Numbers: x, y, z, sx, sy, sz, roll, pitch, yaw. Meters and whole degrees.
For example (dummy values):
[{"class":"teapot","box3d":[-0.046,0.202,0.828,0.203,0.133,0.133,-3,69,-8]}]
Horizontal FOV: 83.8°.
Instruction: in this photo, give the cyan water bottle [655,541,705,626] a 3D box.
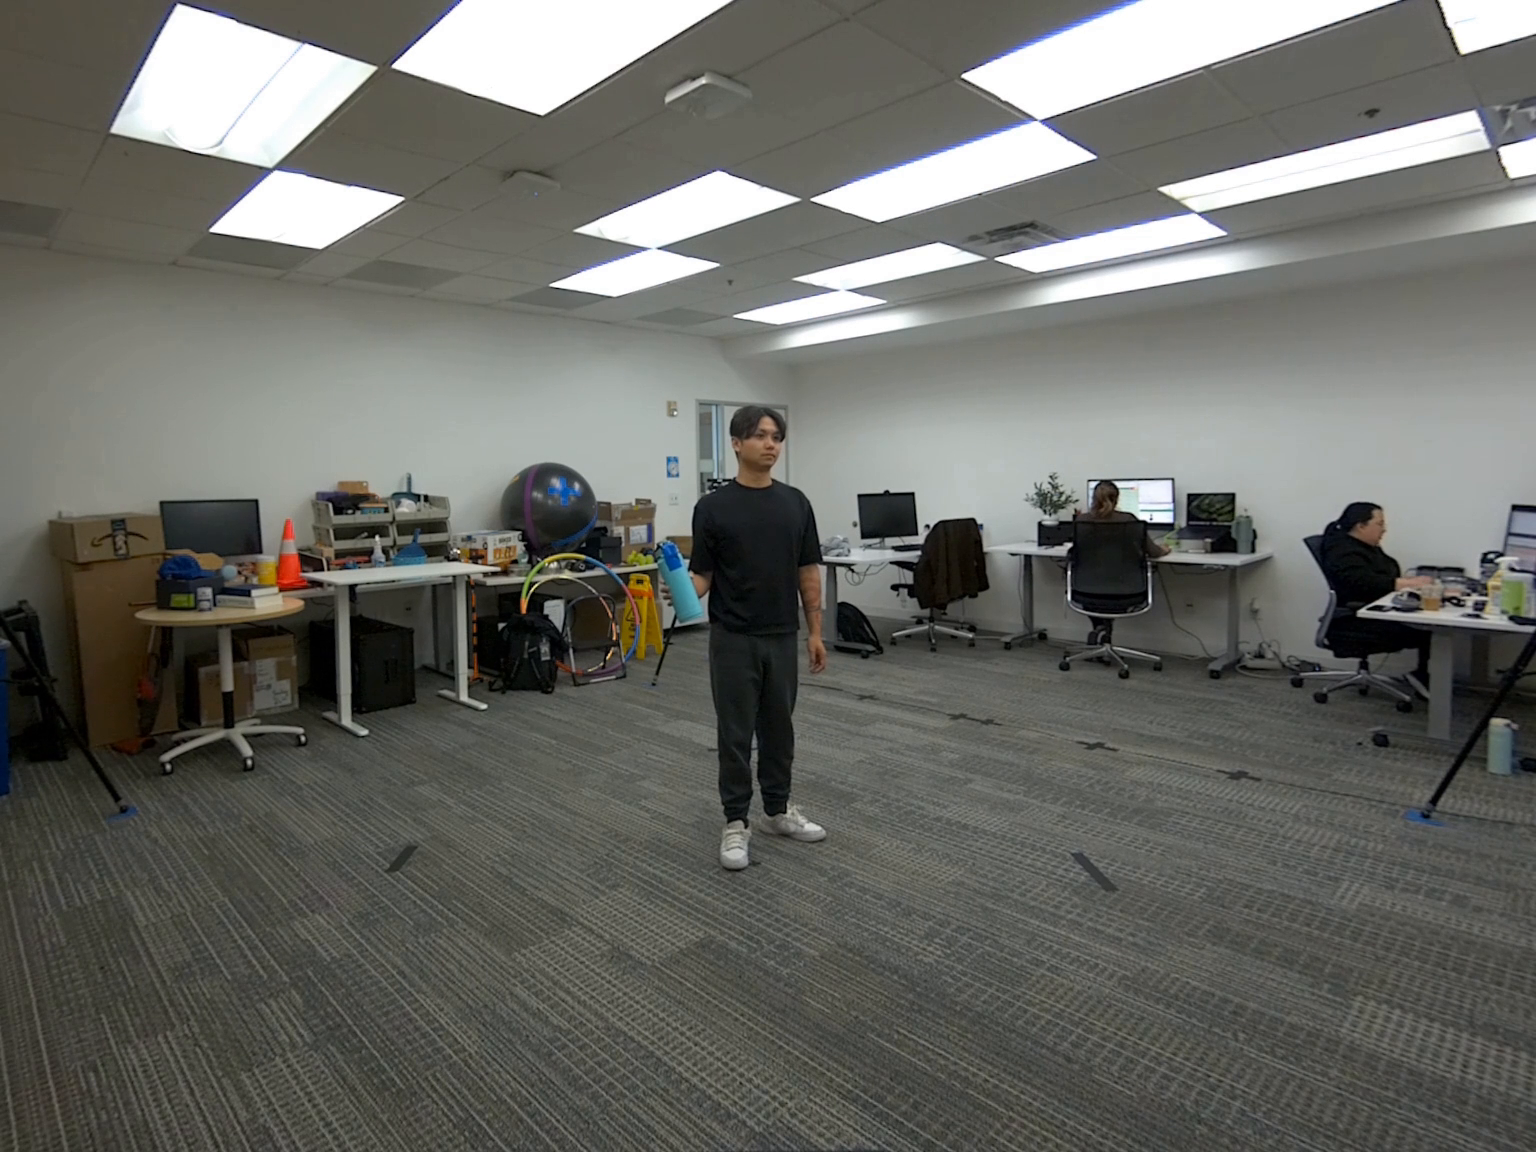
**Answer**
[{"class":"cyan water bottle","box3d":[-0.303,0.012,2.861,0.092,0.284,0.092,-21,-2,-2]}]
